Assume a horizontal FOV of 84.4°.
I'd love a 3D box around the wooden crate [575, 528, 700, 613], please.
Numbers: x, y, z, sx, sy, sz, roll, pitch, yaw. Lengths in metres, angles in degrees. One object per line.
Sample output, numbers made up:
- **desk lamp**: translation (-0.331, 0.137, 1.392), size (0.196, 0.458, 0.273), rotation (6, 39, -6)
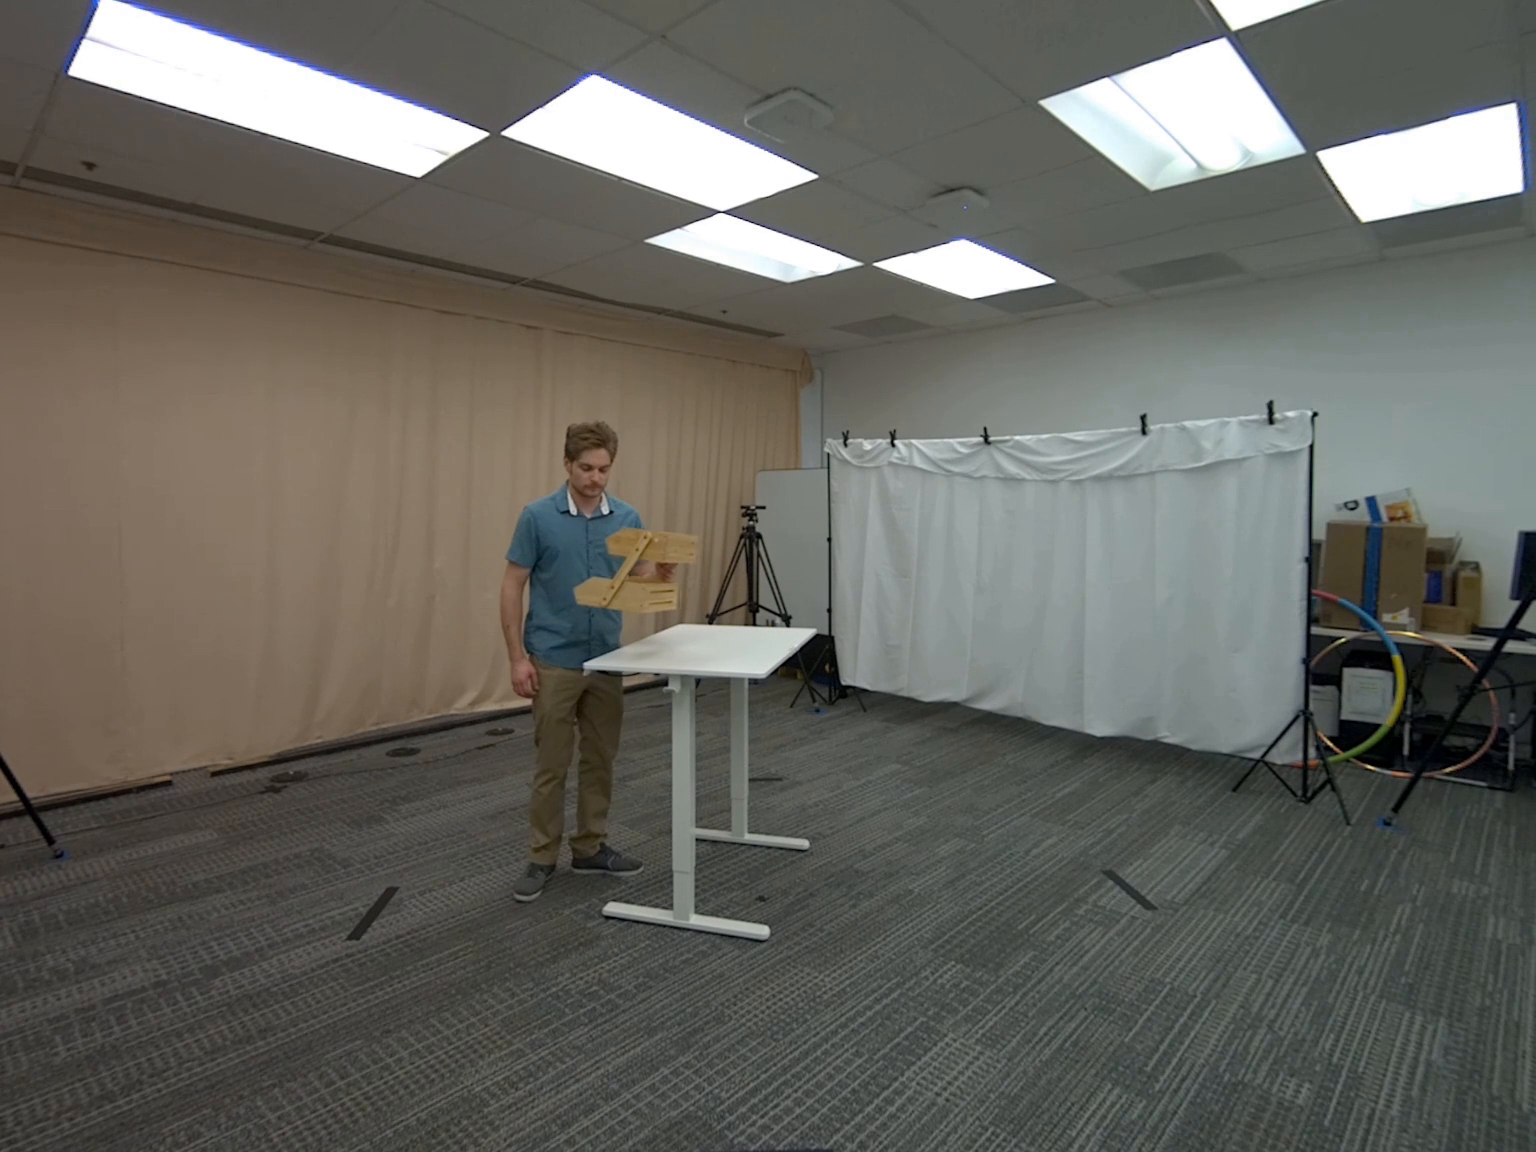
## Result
- **wooden crate**: translation (-0.432, -0.029, 2.801), size (0.308, 0.273, 0.318), rotation (8, 2, 17)
